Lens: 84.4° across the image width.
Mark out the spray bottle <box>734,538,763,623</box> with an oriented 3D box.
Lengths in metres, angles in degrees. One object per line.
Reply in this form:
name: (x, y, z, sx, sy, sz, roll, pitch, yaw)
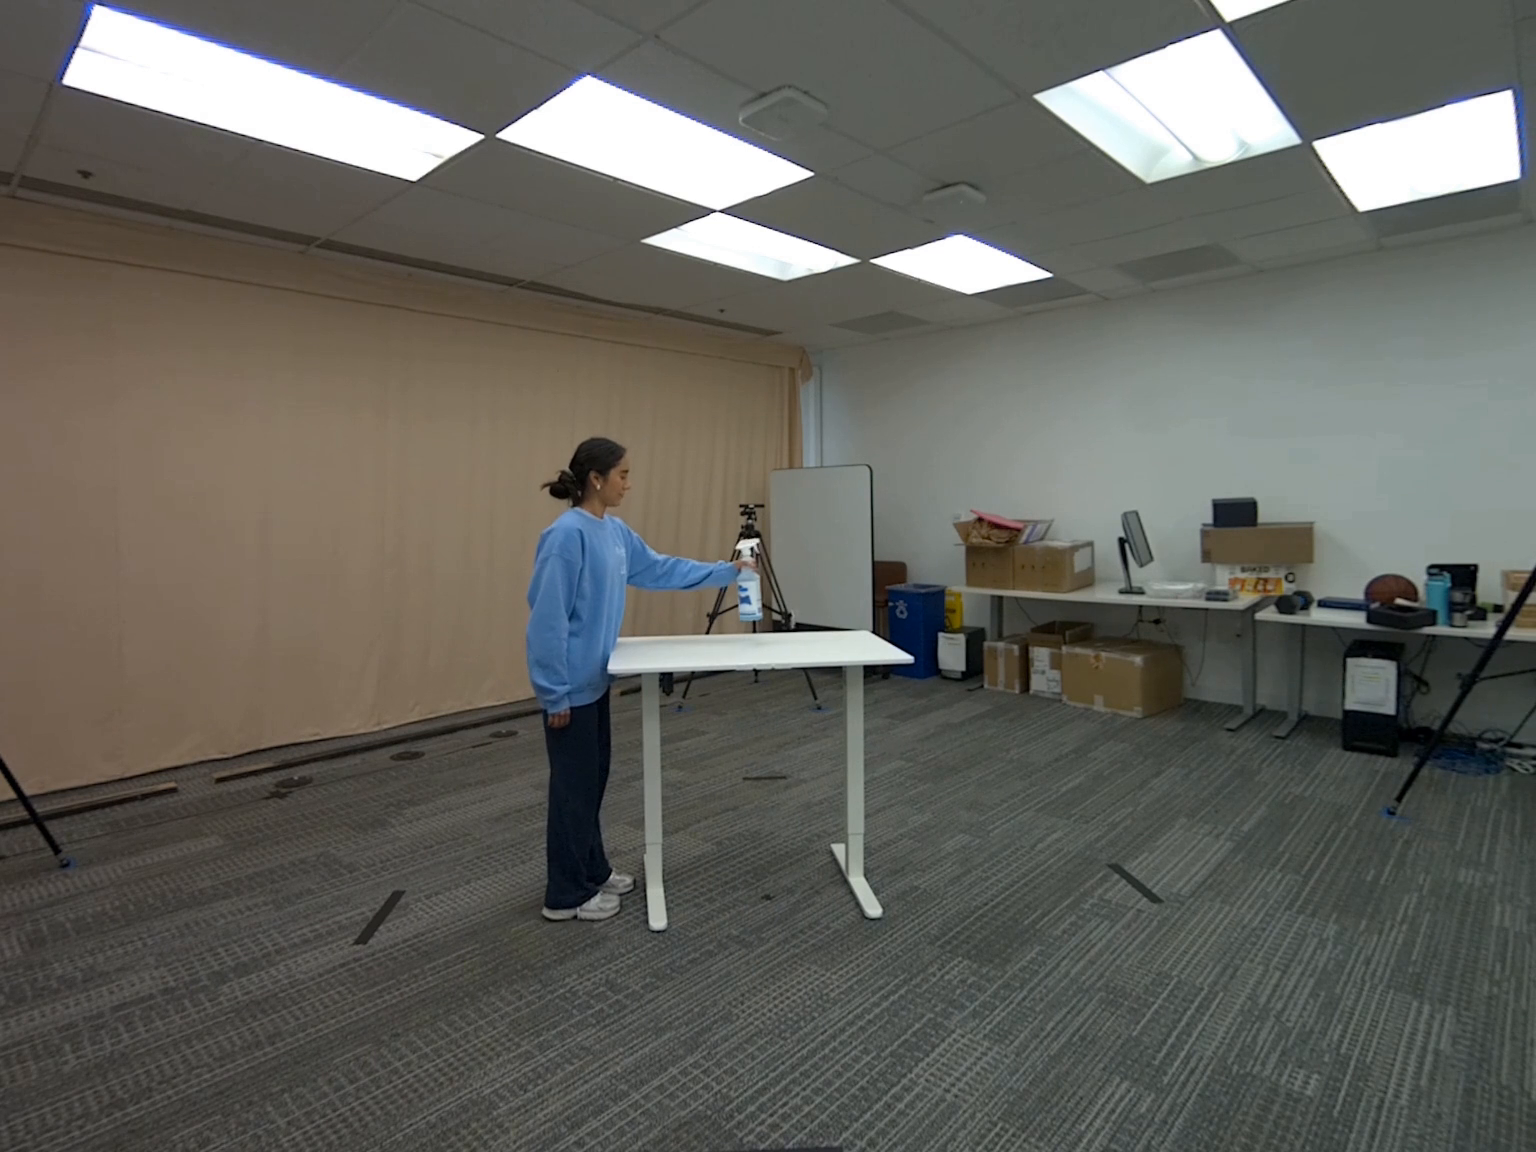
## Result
spray bottle: (-0.080, 0.016, 3.101, 0.091, 0.296, 0.086, -2, 4, 9)
